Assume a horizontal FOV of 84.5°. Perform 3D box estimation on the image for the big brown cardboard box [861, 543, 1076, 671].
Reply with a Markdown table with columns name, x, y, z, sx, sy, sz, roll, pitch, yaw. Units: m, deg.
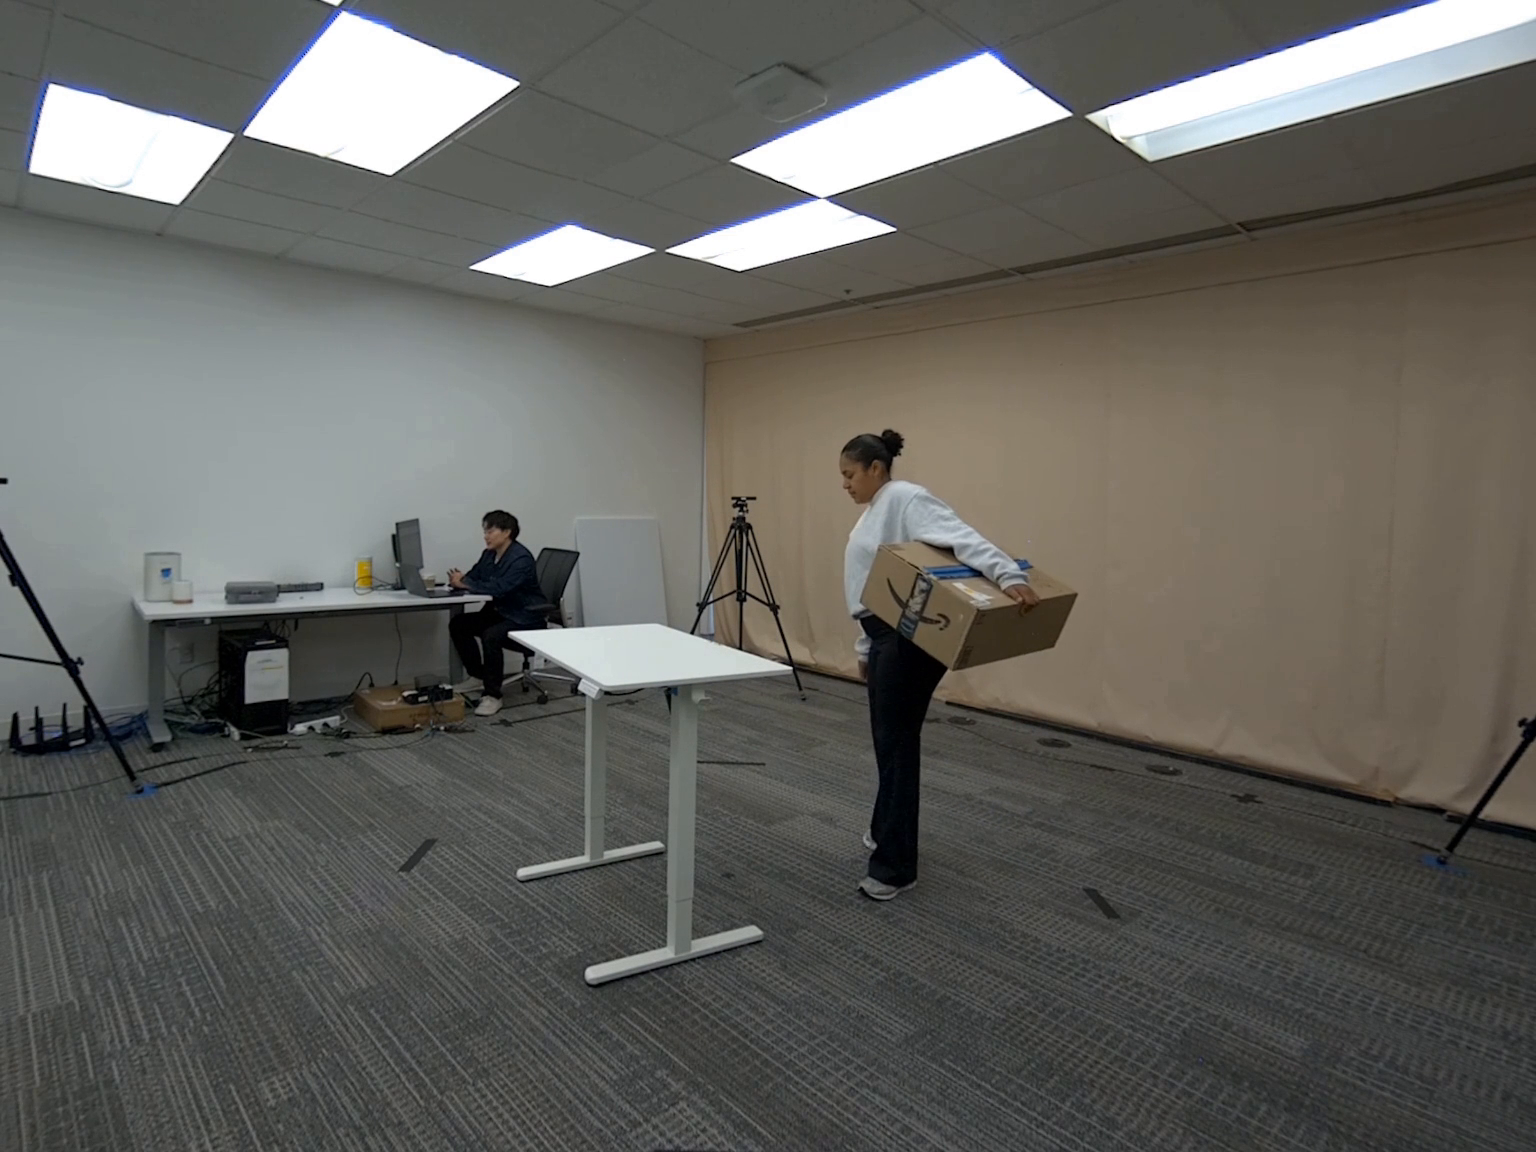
| name | x | y | z | sx | sy | sz | roll | pitch | yaw |
| --- | --- | --- | --- | --- | --- | --- | --- | --- | --- |
| big brown cardboard box | 0.642 | 0.075 | 2.766 | 0.576 | 0.231 | 0.431 | -4 | 30 | -41 |
